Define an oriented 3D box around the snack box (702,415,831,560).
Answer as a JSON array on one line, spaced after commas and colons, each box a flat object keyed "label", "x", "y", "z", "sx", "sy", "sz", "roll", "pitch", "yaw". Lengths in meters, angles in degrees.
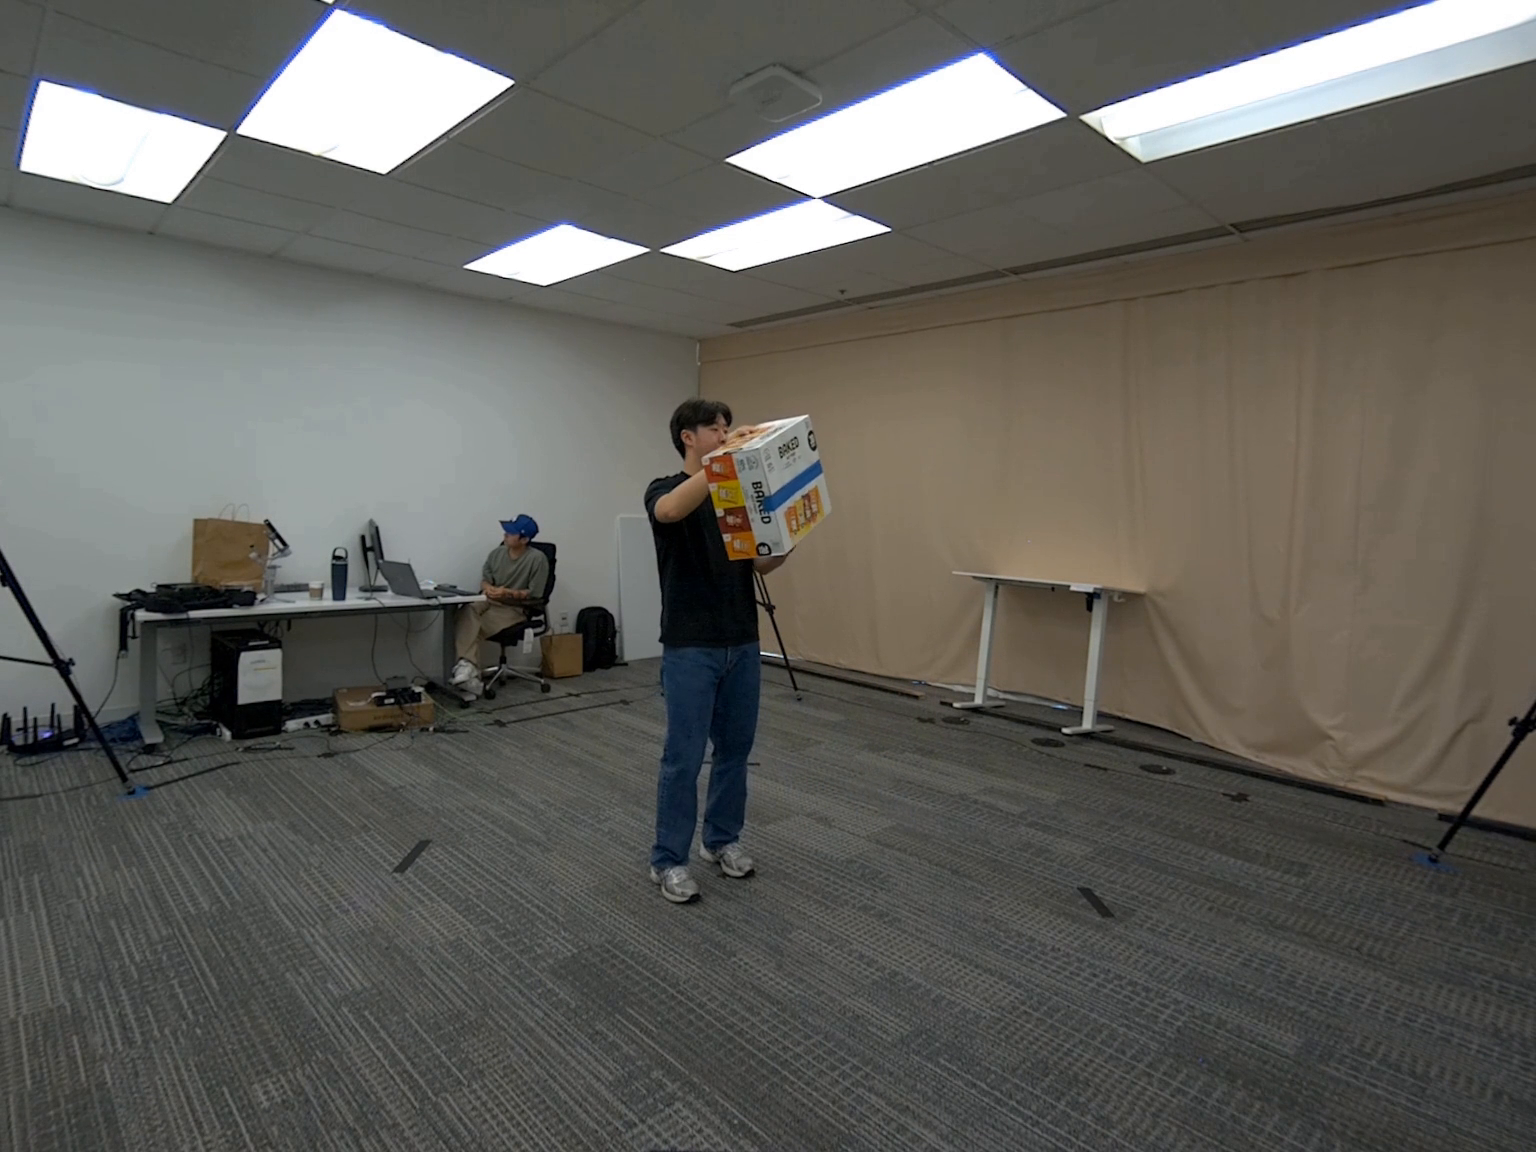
[{"label": "snack box", "x": 0.001, "y": -0.286, "z": 2.727, "sx": 0.209, "sy": 0.335, "sz": 0.403, "roll": -5, "pitch": 20, "yaw": 29}]
